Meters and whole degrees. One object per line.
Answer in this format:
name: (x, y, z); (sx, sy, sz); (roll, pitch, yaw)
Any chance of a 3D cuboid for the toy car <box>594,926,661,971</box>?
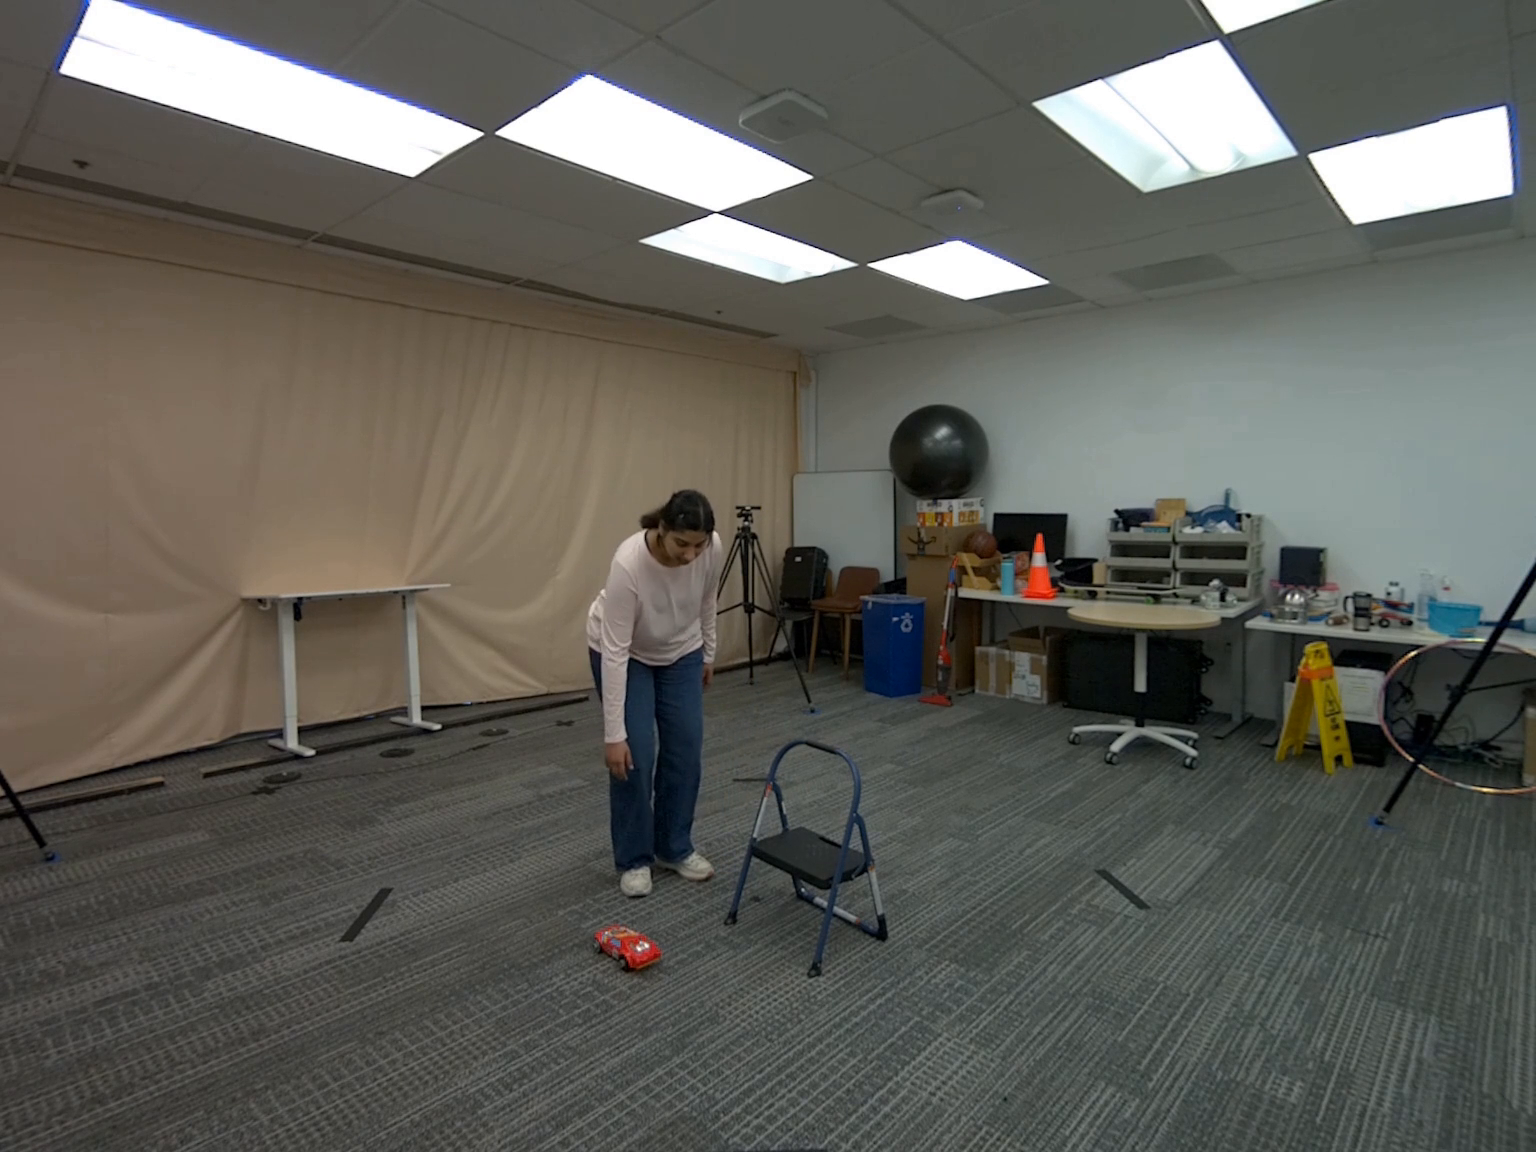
toy car: (-0.430, 1.141, 2.600); (0.126, 0.083, 0.261); (-6, -4, -43)
